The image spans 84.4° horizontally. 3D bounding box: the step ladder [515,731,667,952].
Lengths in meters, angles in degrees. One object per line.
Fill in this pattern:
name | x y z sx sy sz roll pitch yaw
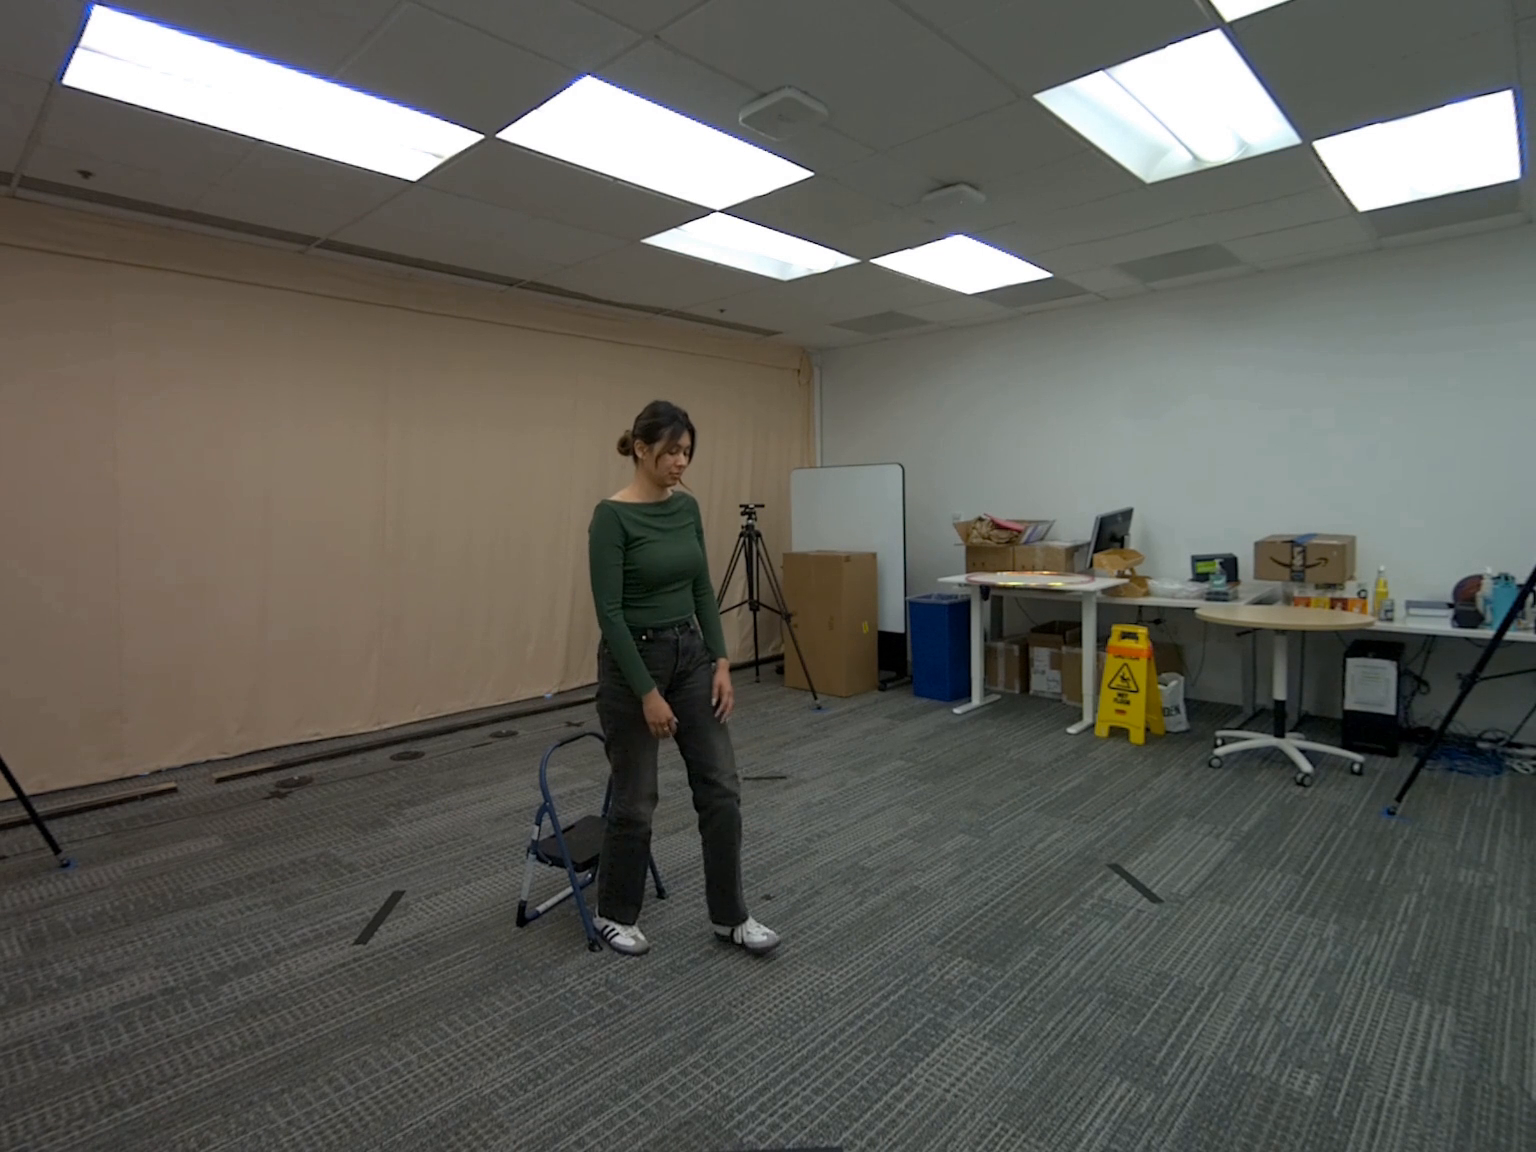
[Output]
step ladder | -0.605 0.857 2.893 0.359 0.605 0.420 0 3 27
